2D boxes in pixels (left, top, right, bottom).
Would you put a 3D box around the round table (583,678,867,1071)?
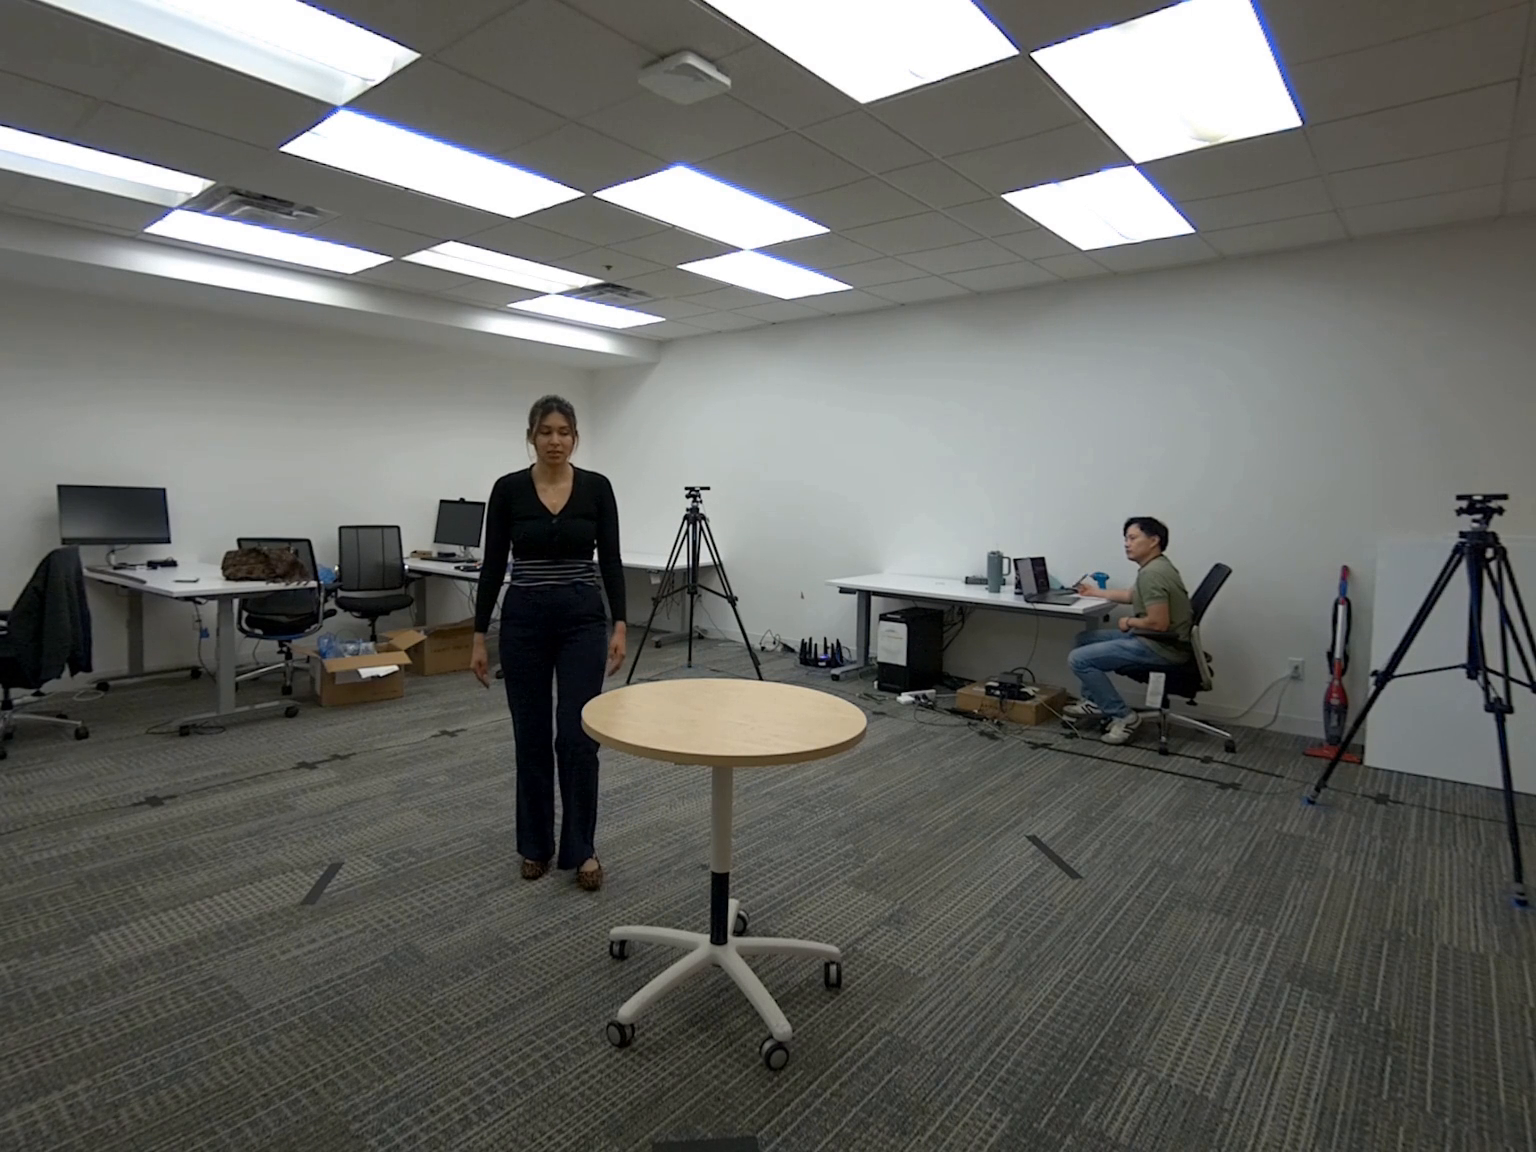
[{"bbox_3d":[-0.143,0.755,2.336,0.763,0.791,0.768,1,5,-2],"label":"round table"}]
